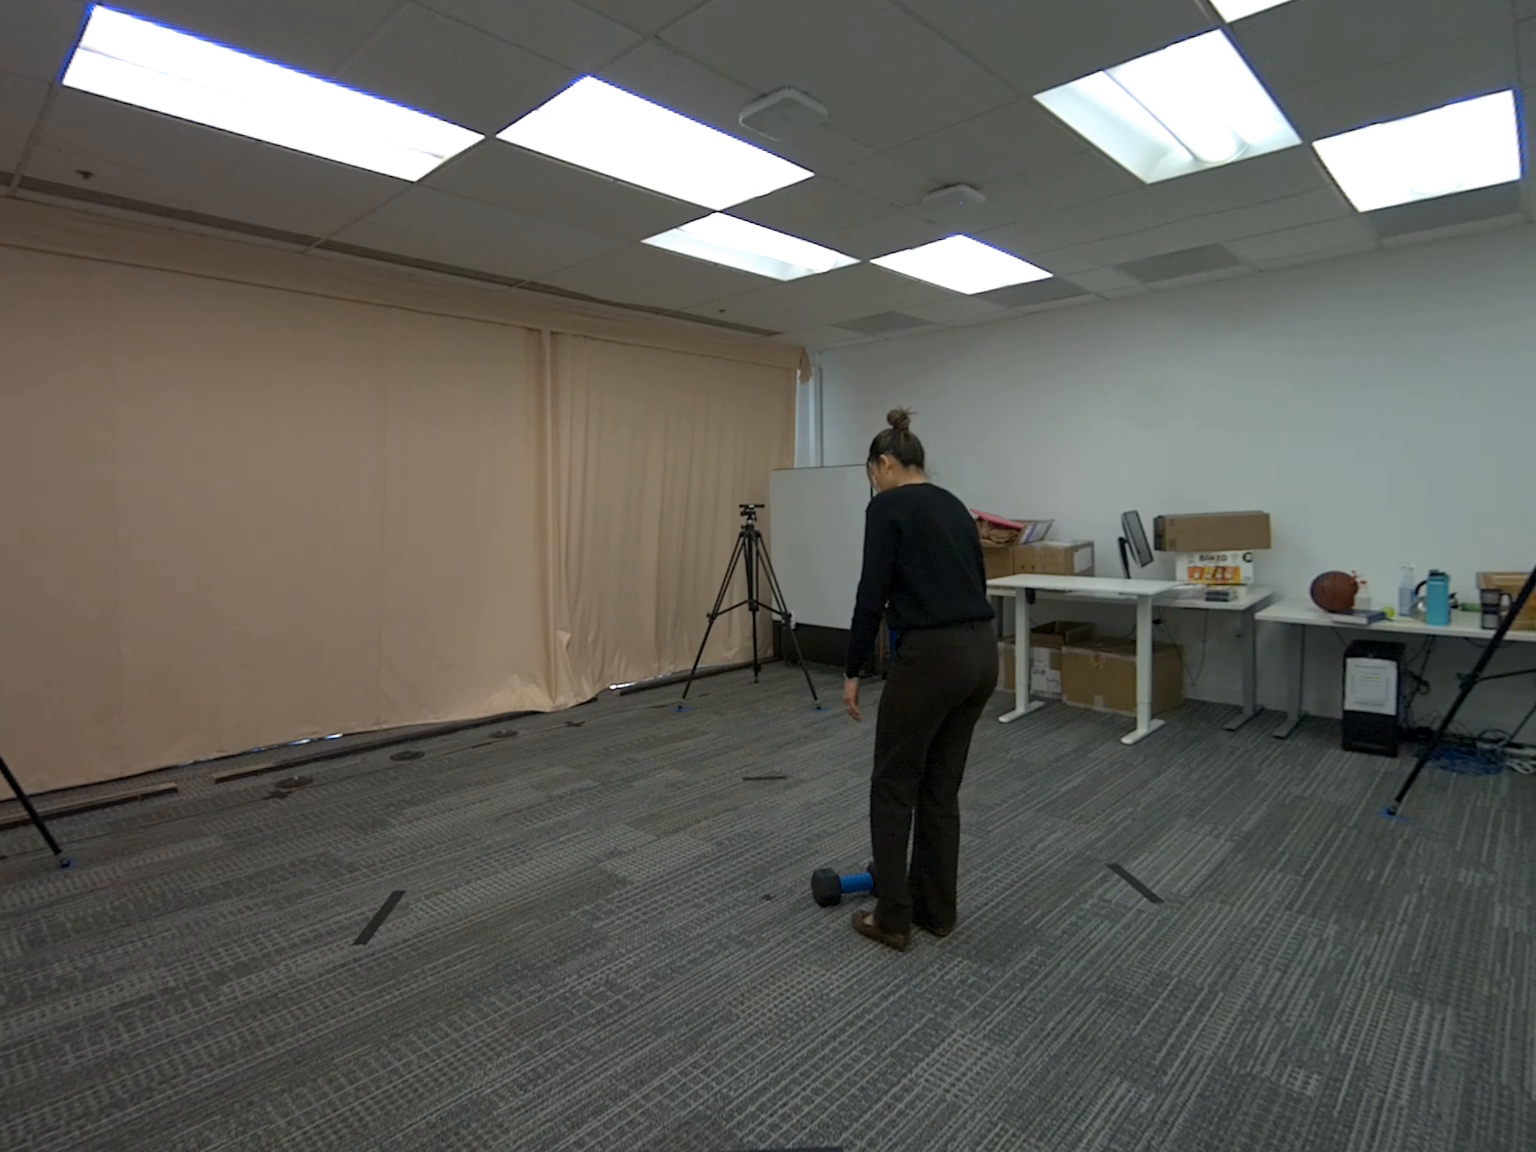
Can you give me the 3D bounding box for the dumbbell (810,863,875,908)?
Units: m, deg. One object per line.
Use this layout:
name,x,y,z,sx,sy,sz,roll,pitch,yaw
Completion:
dumbbell,0.307,1.083,2.963,0.289,0.125,0.108,-2,-27,-15
